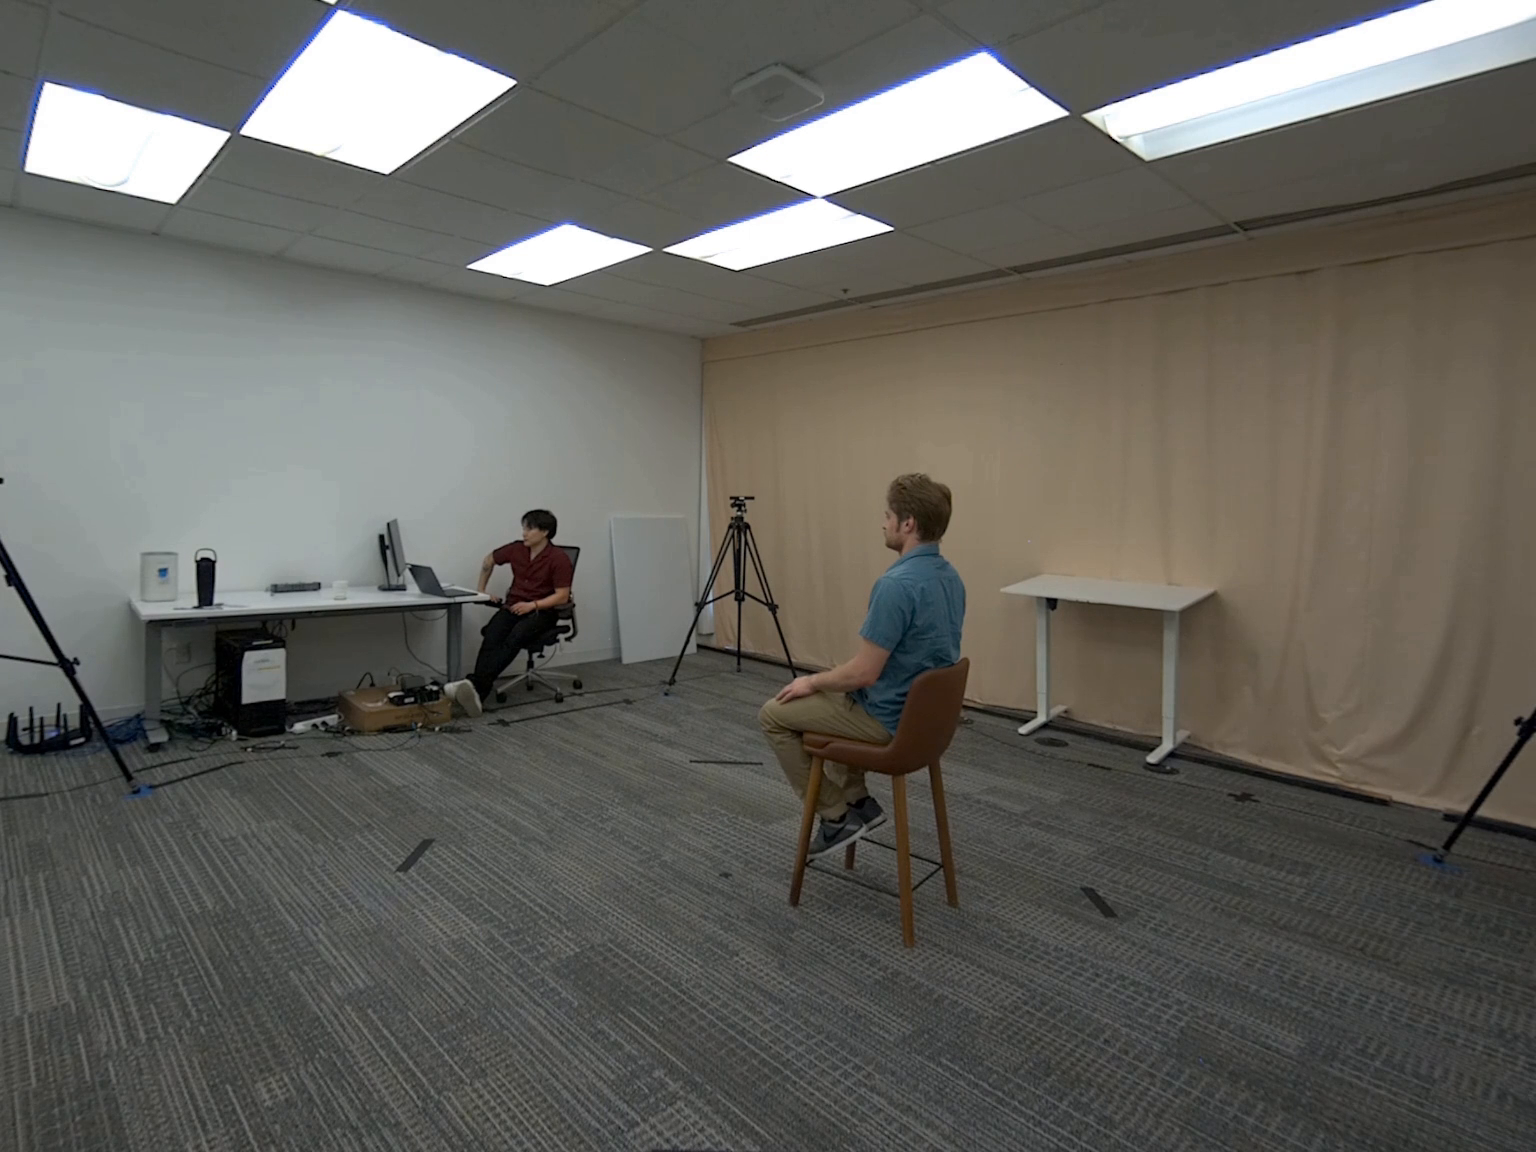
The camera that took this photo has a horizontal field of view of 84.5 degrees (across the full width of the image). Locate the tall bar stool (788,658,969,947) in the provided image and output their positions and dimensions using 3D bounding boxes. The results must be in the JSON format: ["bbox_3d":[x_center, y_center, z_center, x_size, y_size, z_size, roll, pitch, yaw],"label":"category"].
[{"bbox_3d":[0.385,0.700,2.872,0.479,0.886,0.447,7,7,37],"label":"tall bar stool"}]
